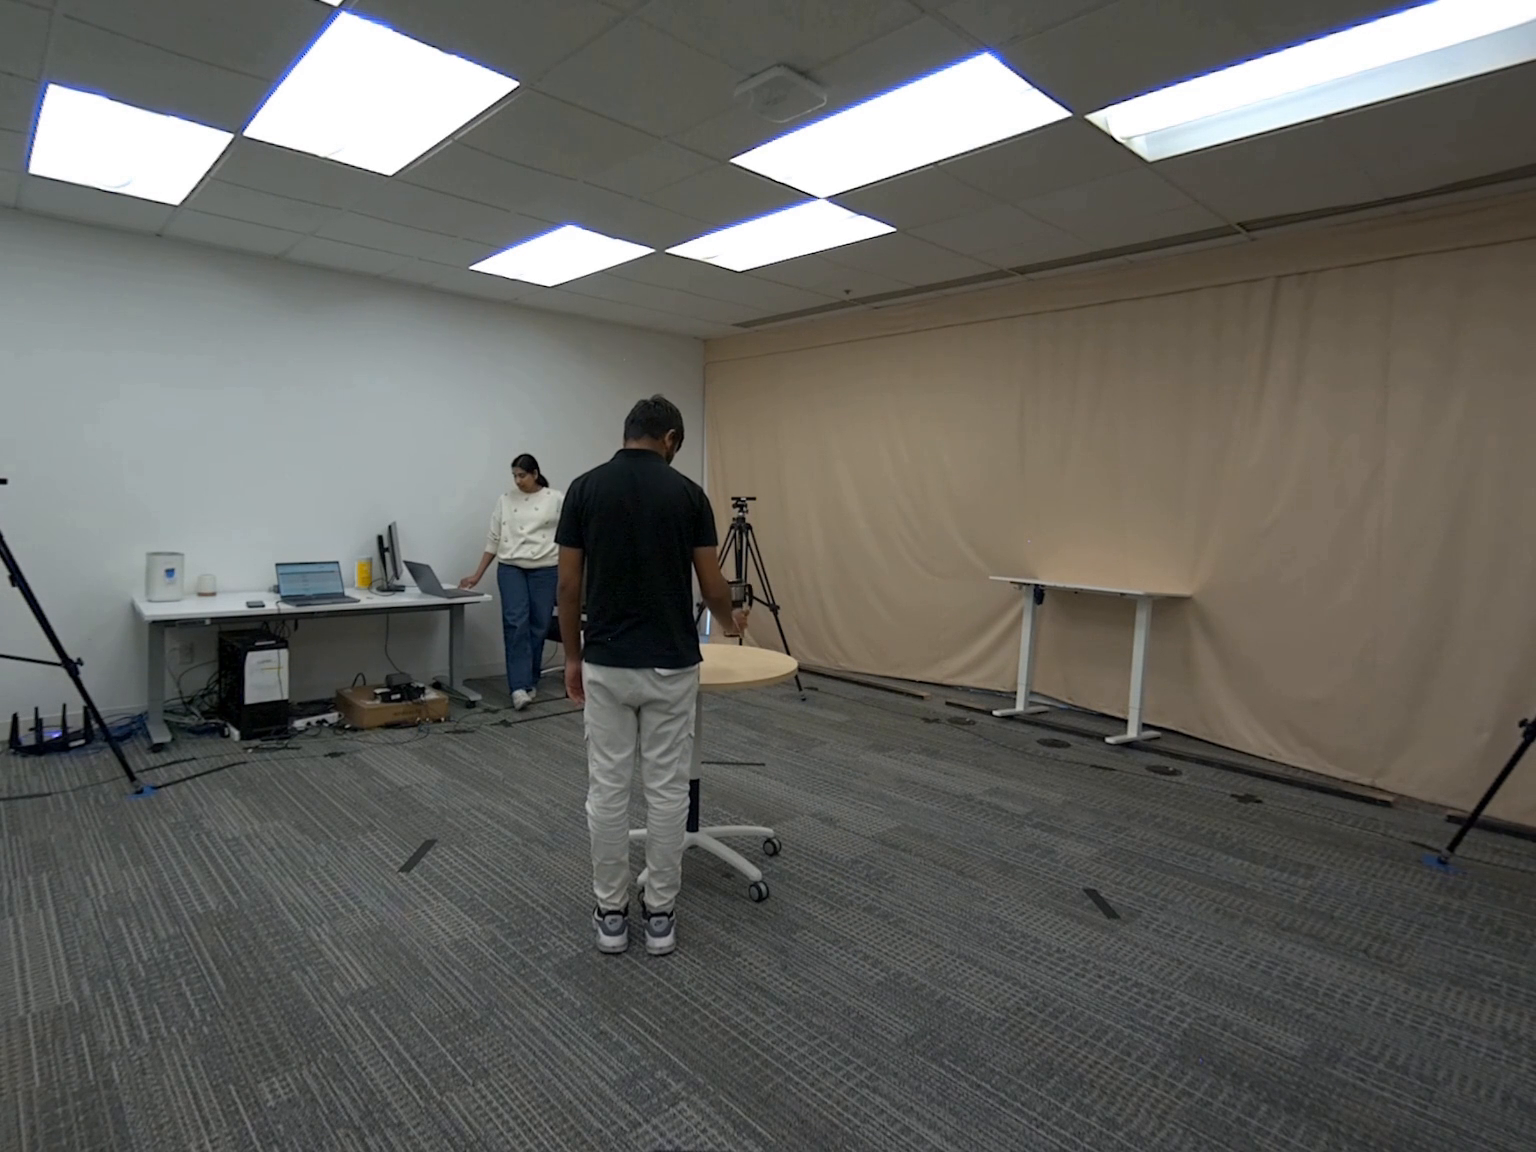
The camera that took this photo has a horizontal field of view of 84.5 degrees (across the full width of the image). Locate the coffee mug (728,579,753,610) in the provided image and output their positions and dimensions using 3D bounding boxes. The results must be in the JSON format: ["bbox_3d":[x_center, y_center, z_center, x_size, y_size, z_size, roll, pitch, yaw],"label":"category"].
[{"bbox_3d":[-0.110,0.116,2.990,0.121,0.203,0.089,-7,2,-12],"label":"coffee mug"}]
